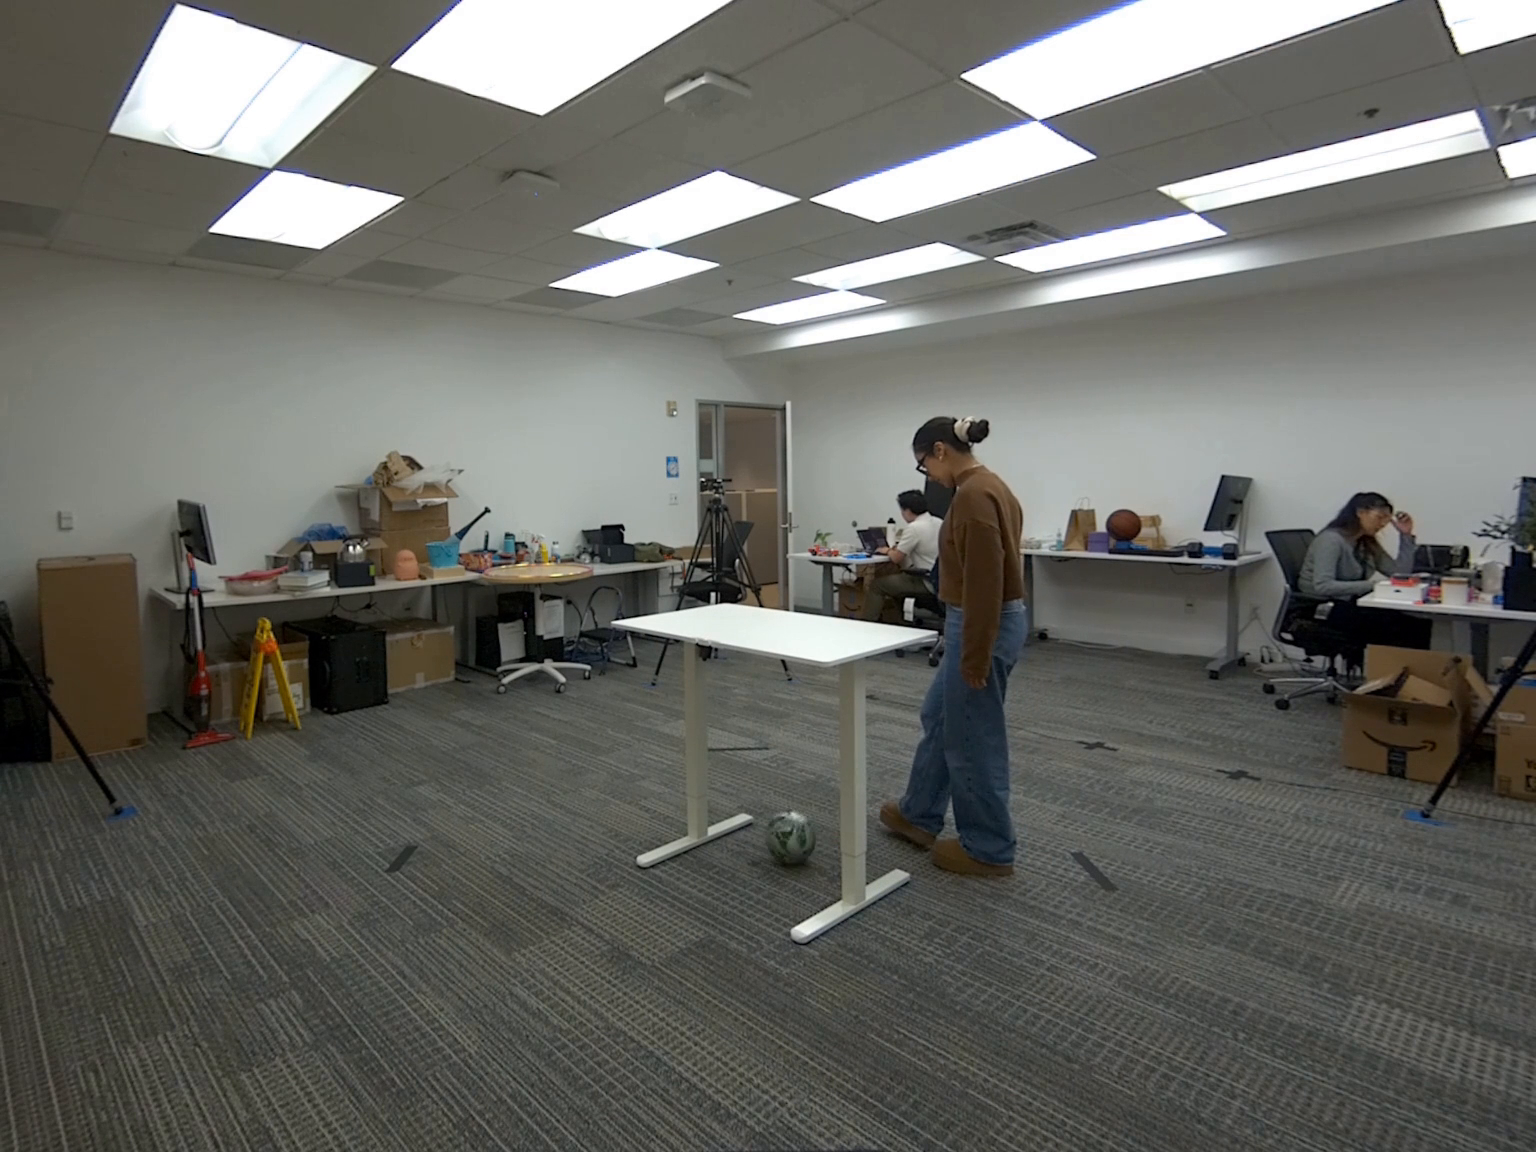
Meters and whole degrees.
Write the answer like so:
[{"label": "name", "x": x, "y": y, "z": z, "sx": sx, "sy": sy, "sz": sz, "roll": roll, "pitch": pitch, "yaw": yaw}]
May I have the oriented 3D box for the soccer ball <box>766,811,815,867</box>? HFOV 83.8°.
[{"label": "soccer ball", "x": 0.087, "y": 0.945, "z": 3.108, "sx": 0.187, "sy": 0.187, "sz": 0.188, "roll": -1, "pitch": 5, "yaw": -2}]
